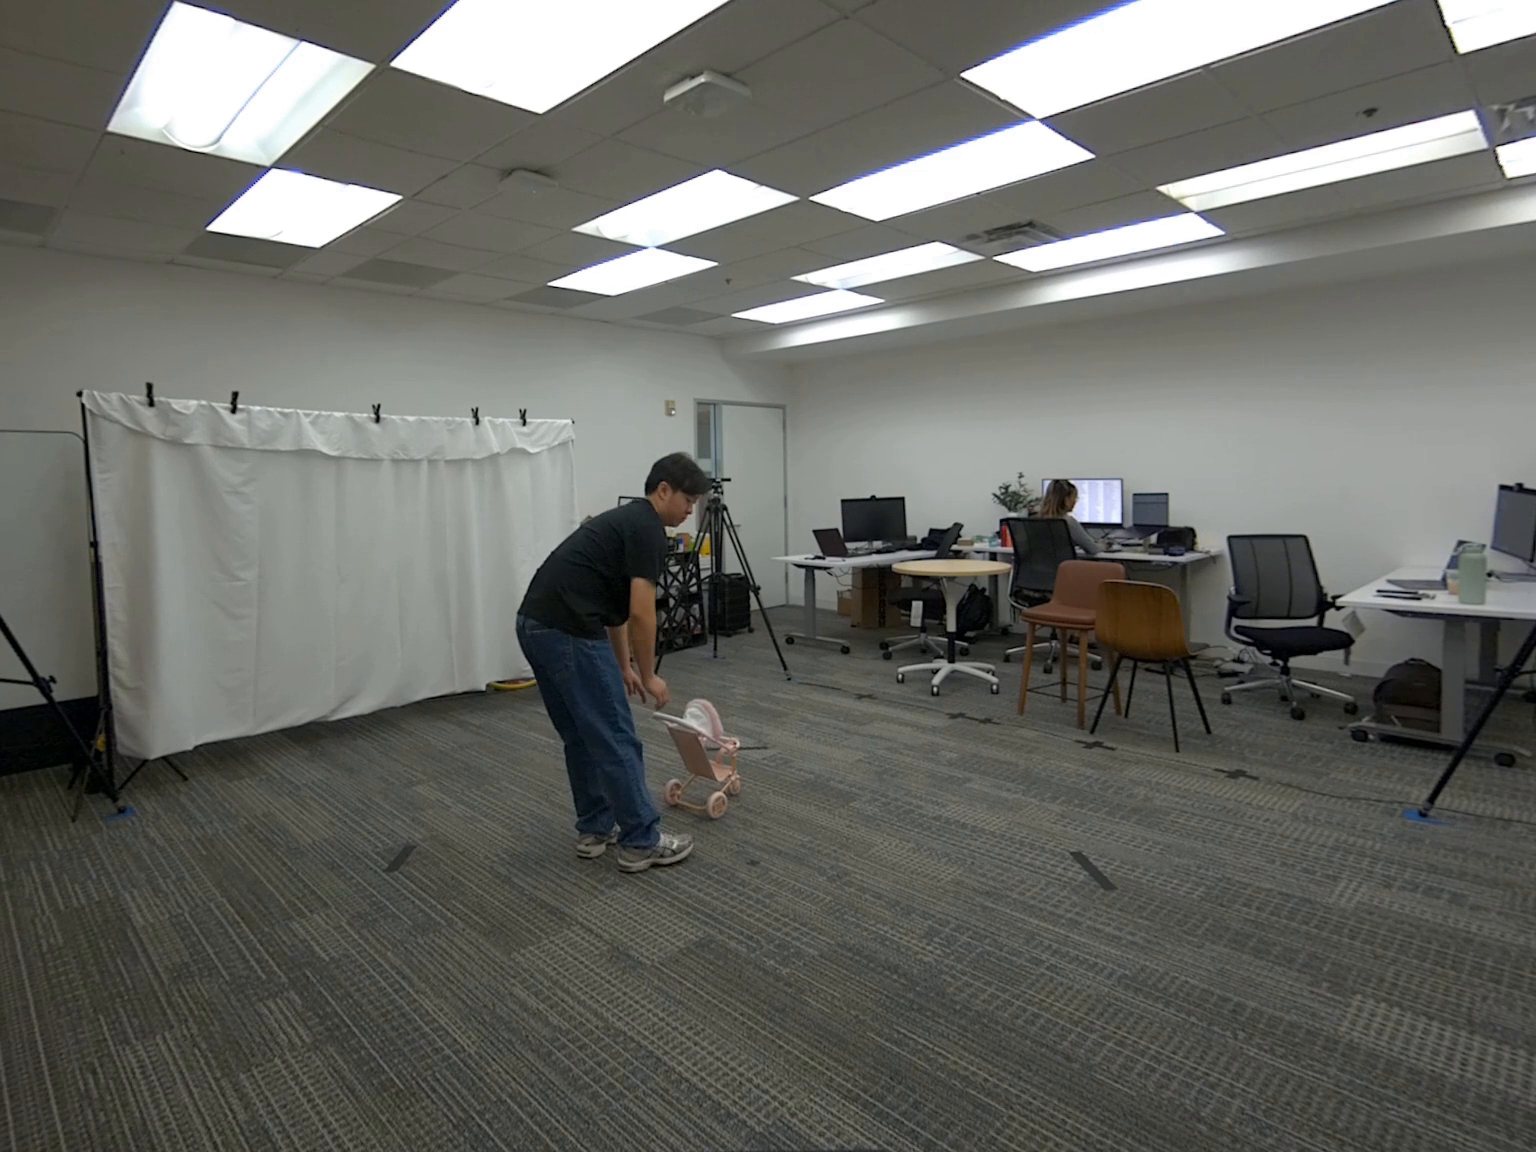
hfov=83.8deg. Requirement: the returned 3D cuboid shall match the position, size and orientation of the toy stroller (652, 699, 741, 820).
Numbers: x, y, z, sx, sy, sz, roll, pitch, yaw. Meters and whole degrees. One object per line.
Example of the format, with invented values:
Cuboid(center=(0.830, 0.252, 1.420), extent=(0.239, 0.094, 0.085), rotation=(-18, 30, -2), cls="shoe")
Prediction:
Cuboid(center=(-0.268, 0.759, 3.635), extent=(0.290, 0.527, 0.336), rotation=(3, 20, 45), cls="toy stroller")
